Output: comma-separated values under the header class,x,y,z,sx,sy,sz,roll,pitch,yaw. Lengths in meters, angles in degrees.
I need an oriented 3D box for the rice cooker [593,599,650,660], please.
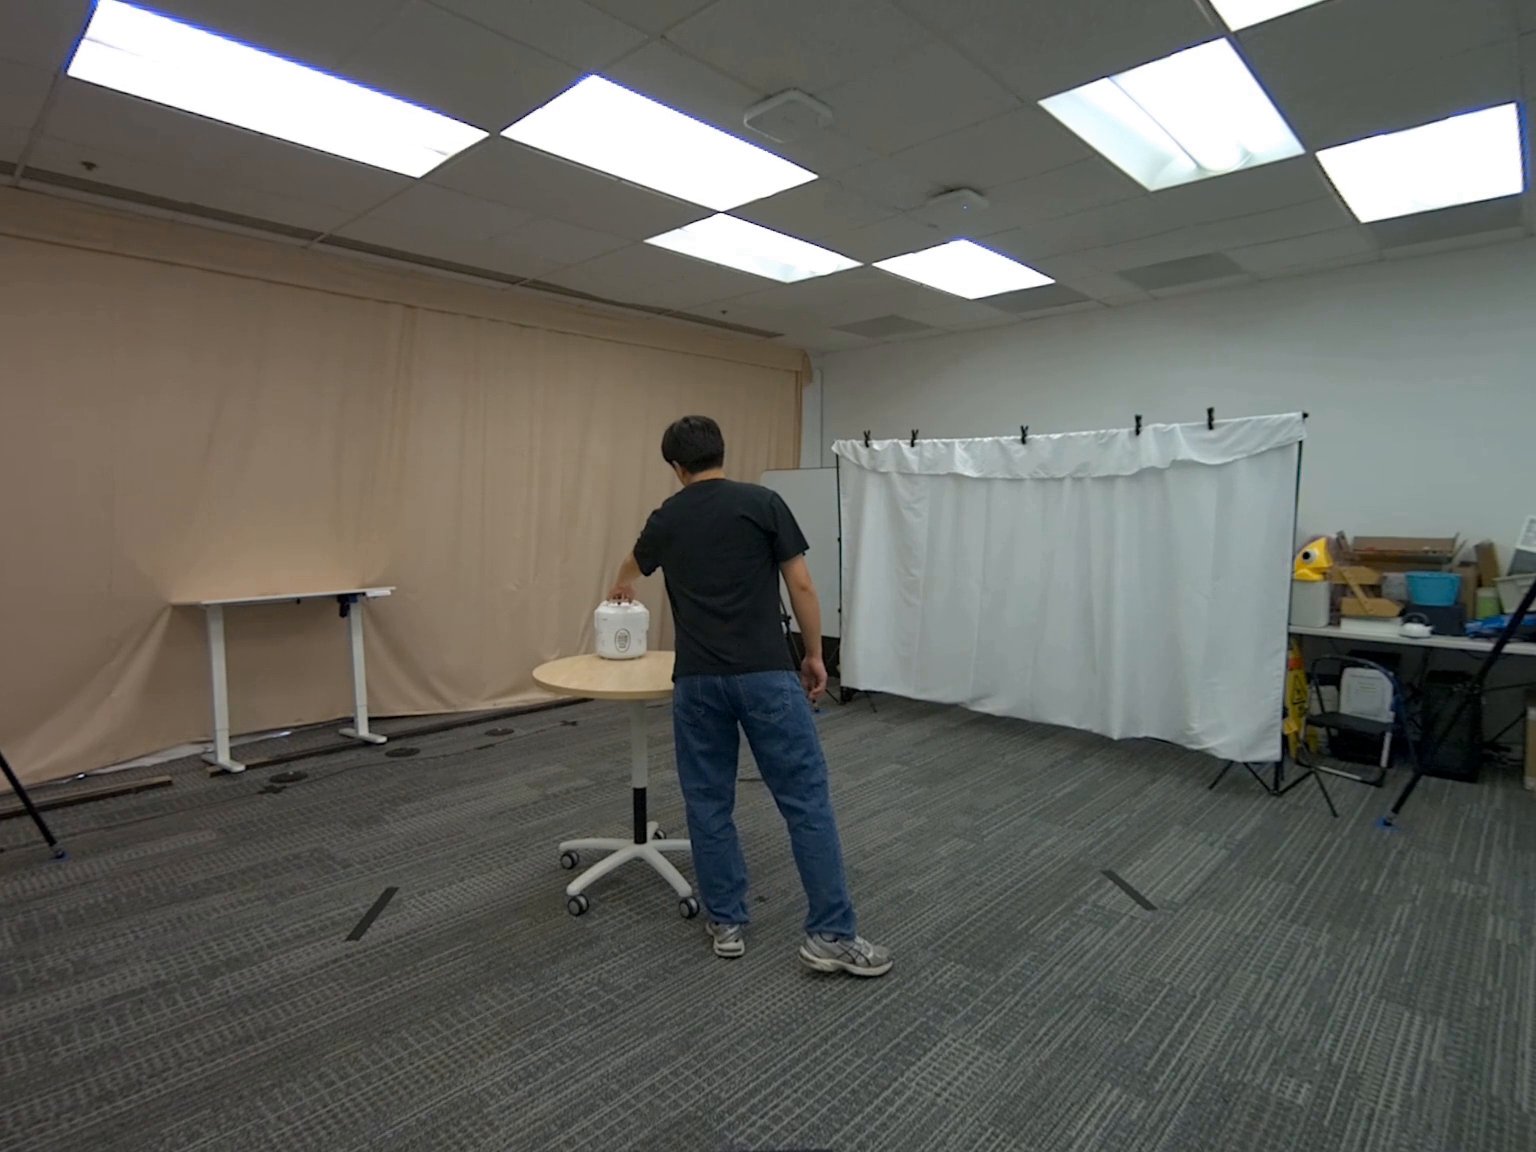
class,x,y,z,sx,sy,sz,roll,pitch,yaw
rice cooker,-0.587,0.206,3.369,0.218,0.232,0.220,-2,3,-11
